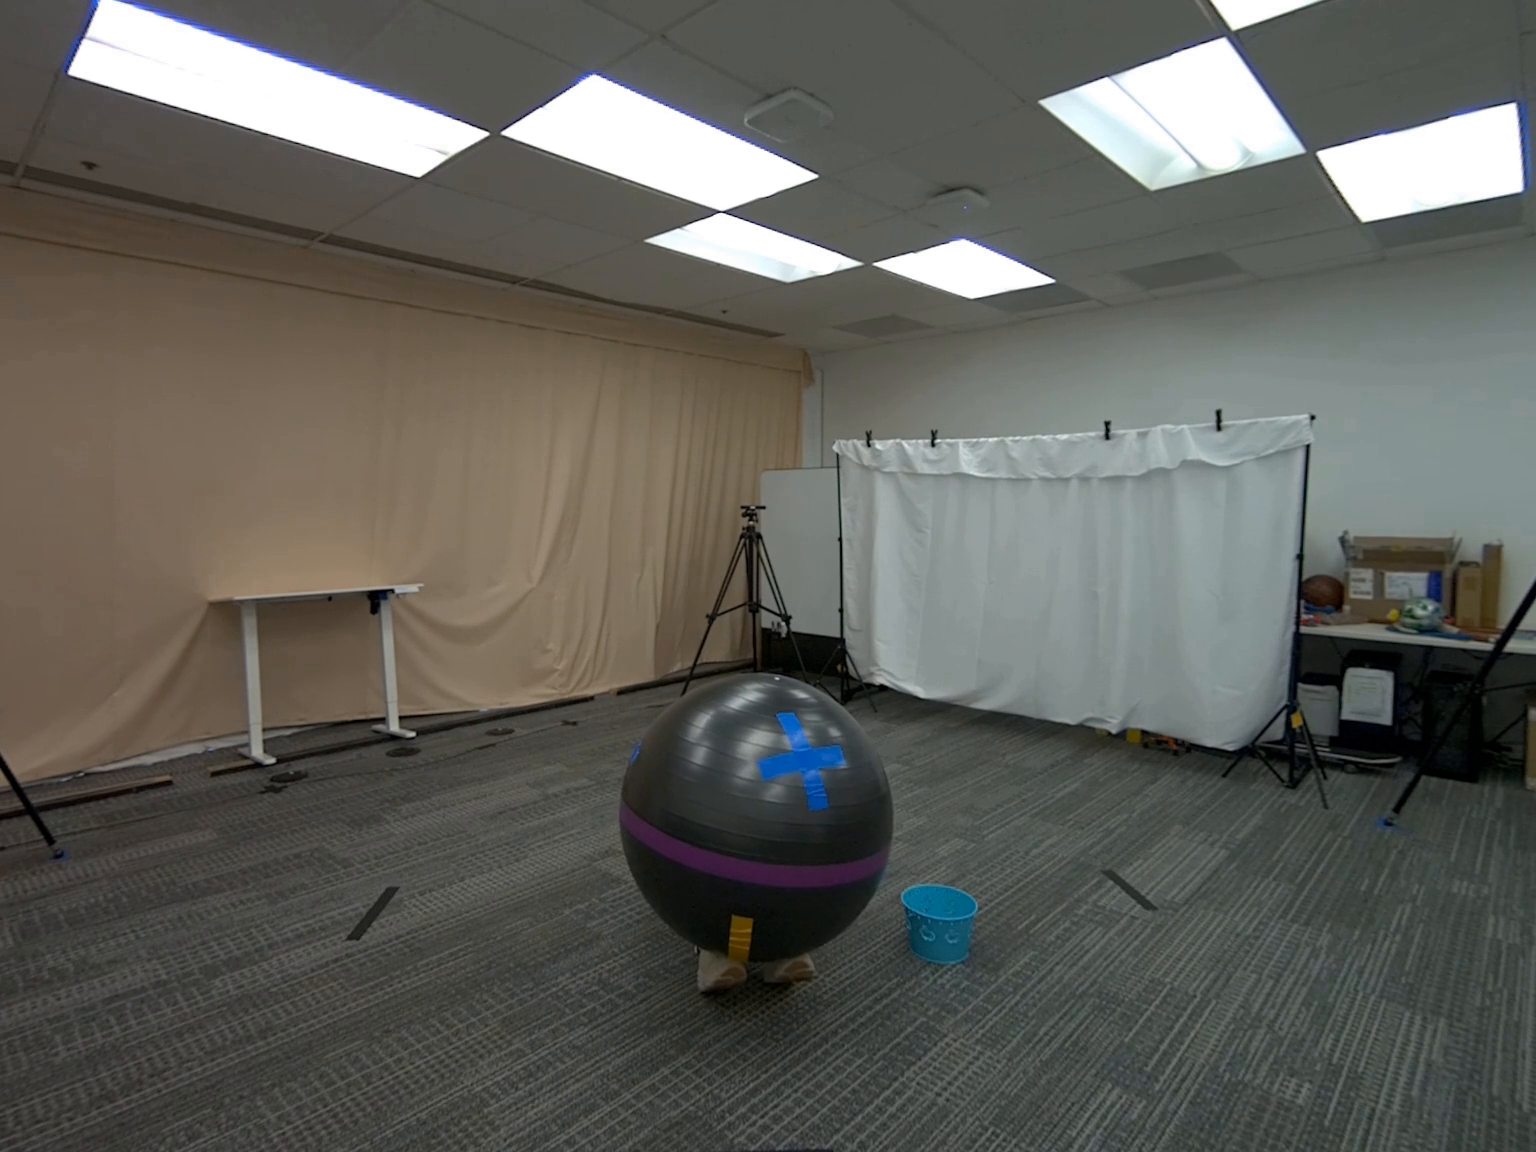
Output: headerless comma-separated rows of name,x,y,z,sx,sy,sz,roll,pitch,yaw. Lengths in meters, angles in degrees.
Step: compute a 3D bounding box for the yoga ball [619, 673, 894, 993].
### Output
yoga ball,-0.028,0.658,2.348,0.757,0.756,0.761,0,4,-2
